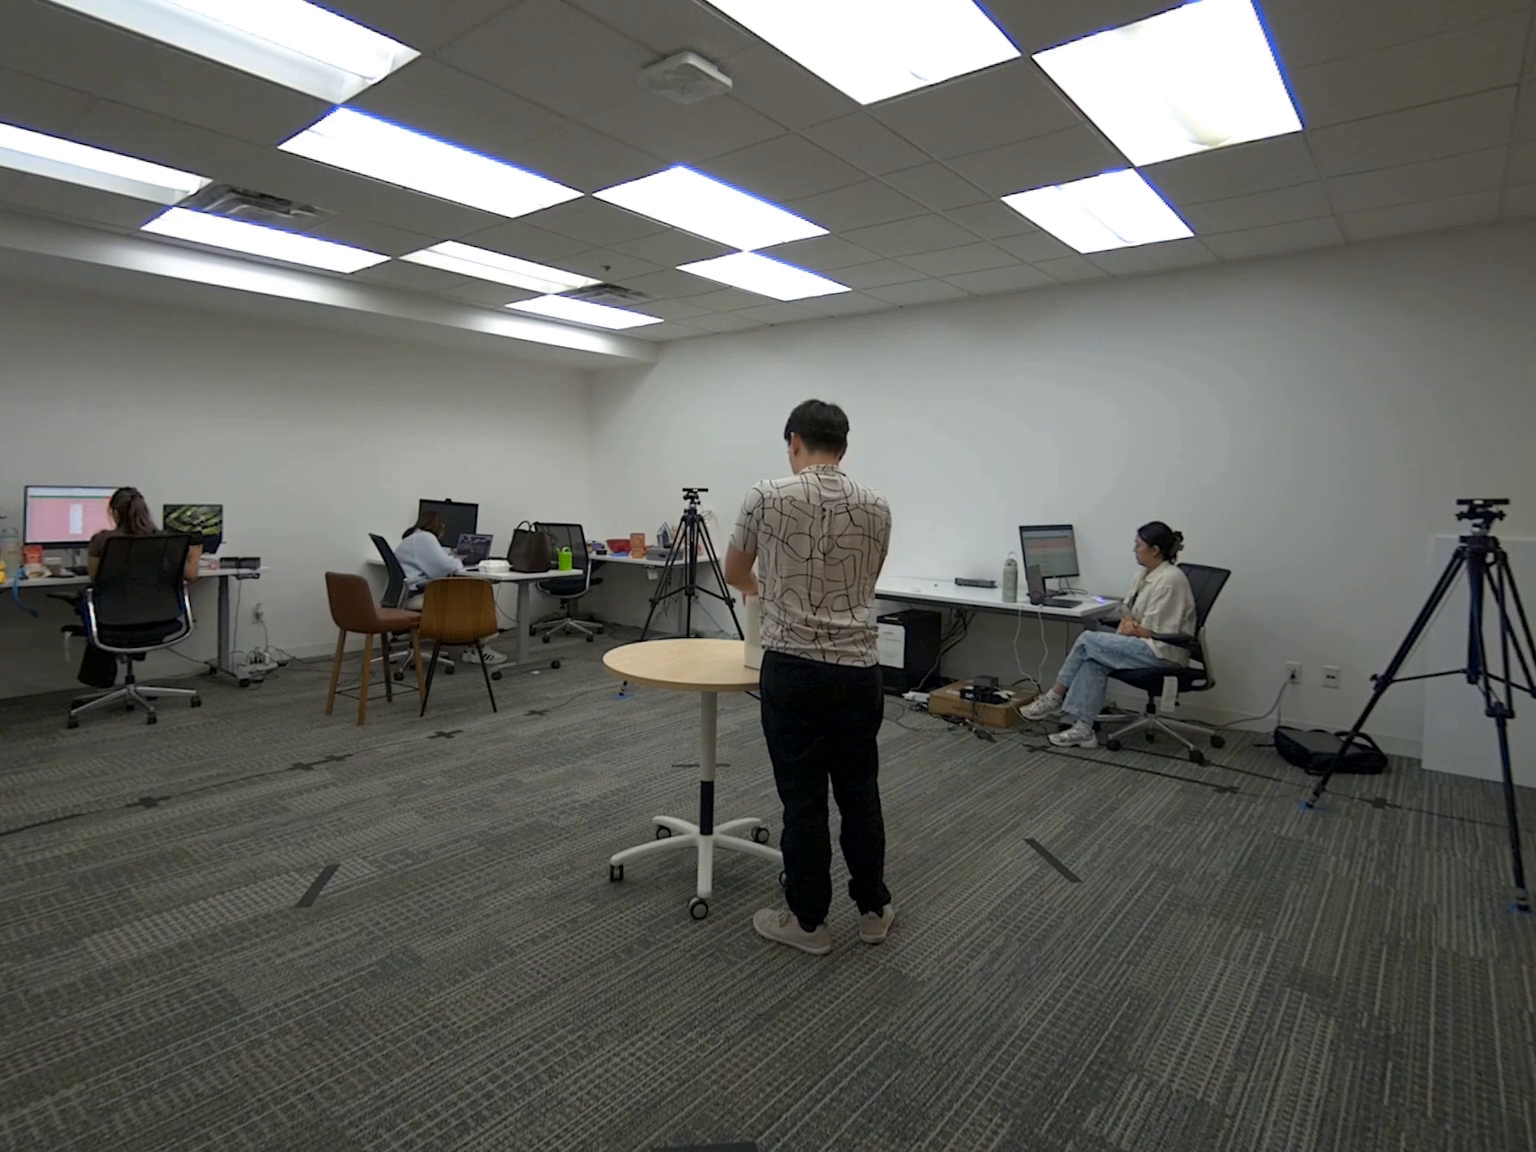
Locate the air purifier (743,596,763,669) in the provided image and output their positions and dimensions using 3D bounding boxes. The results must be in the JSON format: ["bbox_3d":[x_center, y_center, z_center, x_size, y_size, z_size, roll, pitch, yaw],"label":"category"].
[{"bbox_3d":[0.010,0.179,2.945,0.166,0.264,0.178,-4,8,-43],"label":"air purifier"}]
